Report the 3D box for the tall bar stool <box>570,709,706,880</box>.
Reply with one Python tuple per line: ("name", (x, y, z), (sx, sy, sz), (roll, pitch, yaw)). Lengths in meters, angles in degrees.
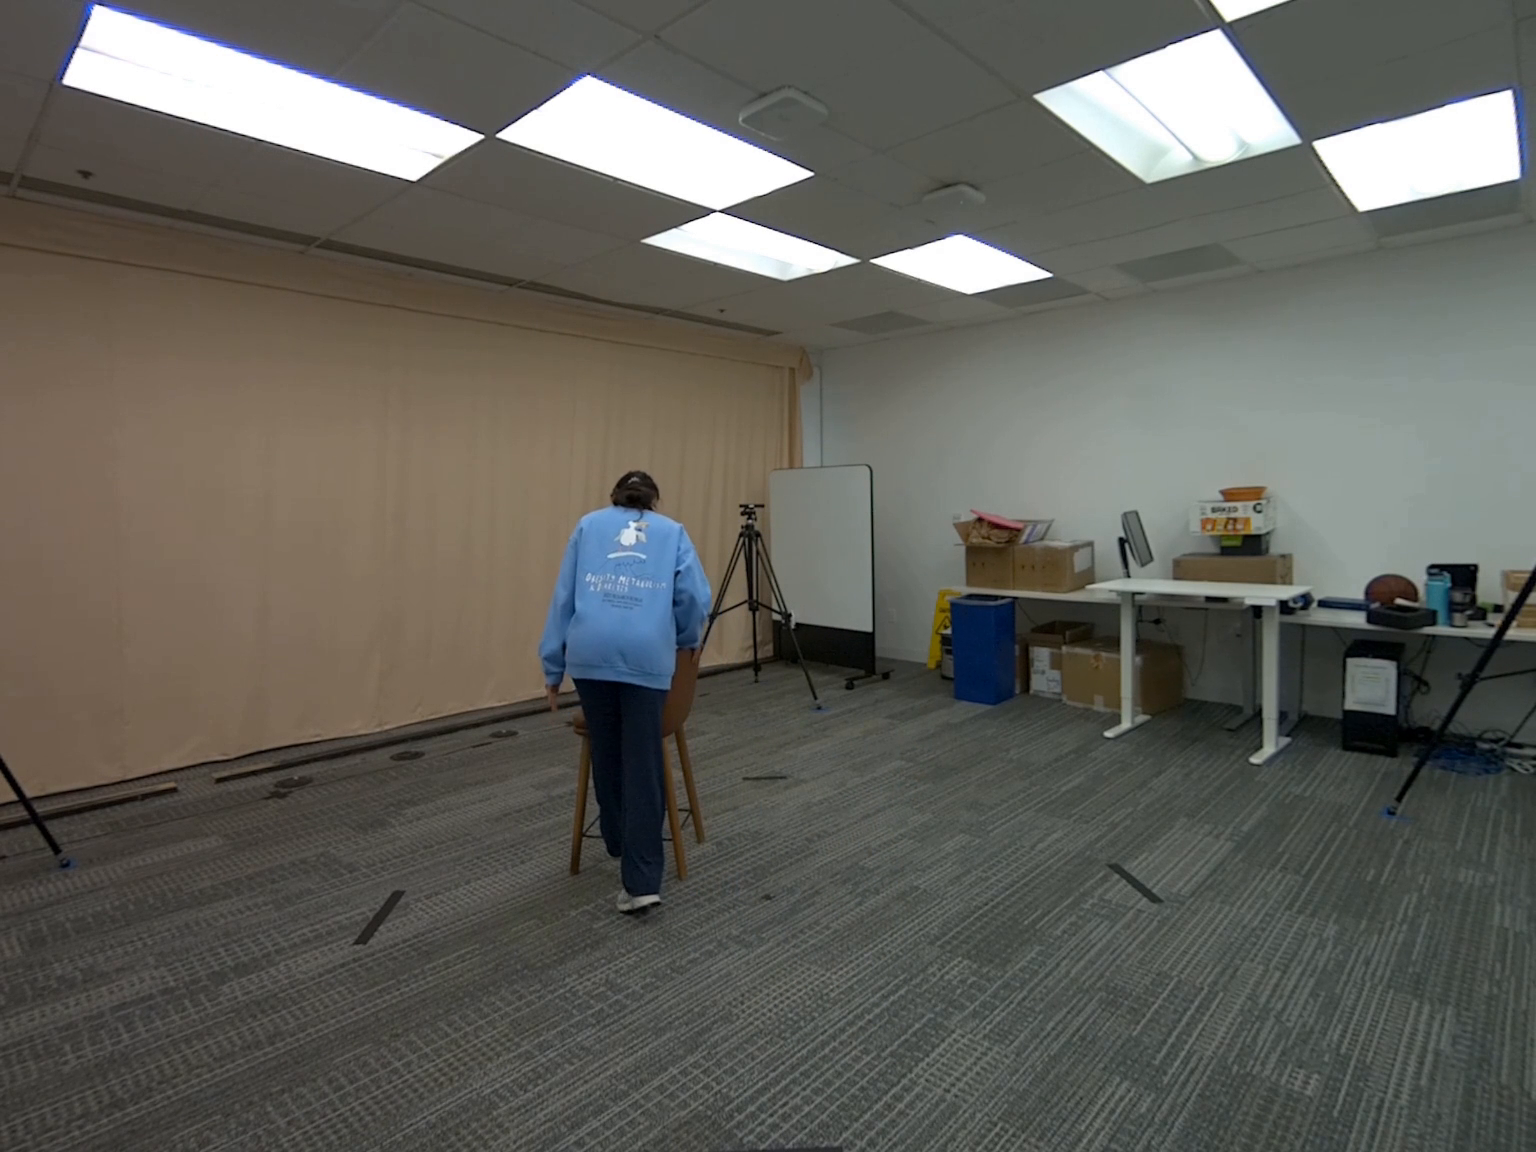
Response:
("tall bar stool", (-0.514, 0.685, 3.338), (0.473, 0.887, 0.453), (1, 4, 9))
